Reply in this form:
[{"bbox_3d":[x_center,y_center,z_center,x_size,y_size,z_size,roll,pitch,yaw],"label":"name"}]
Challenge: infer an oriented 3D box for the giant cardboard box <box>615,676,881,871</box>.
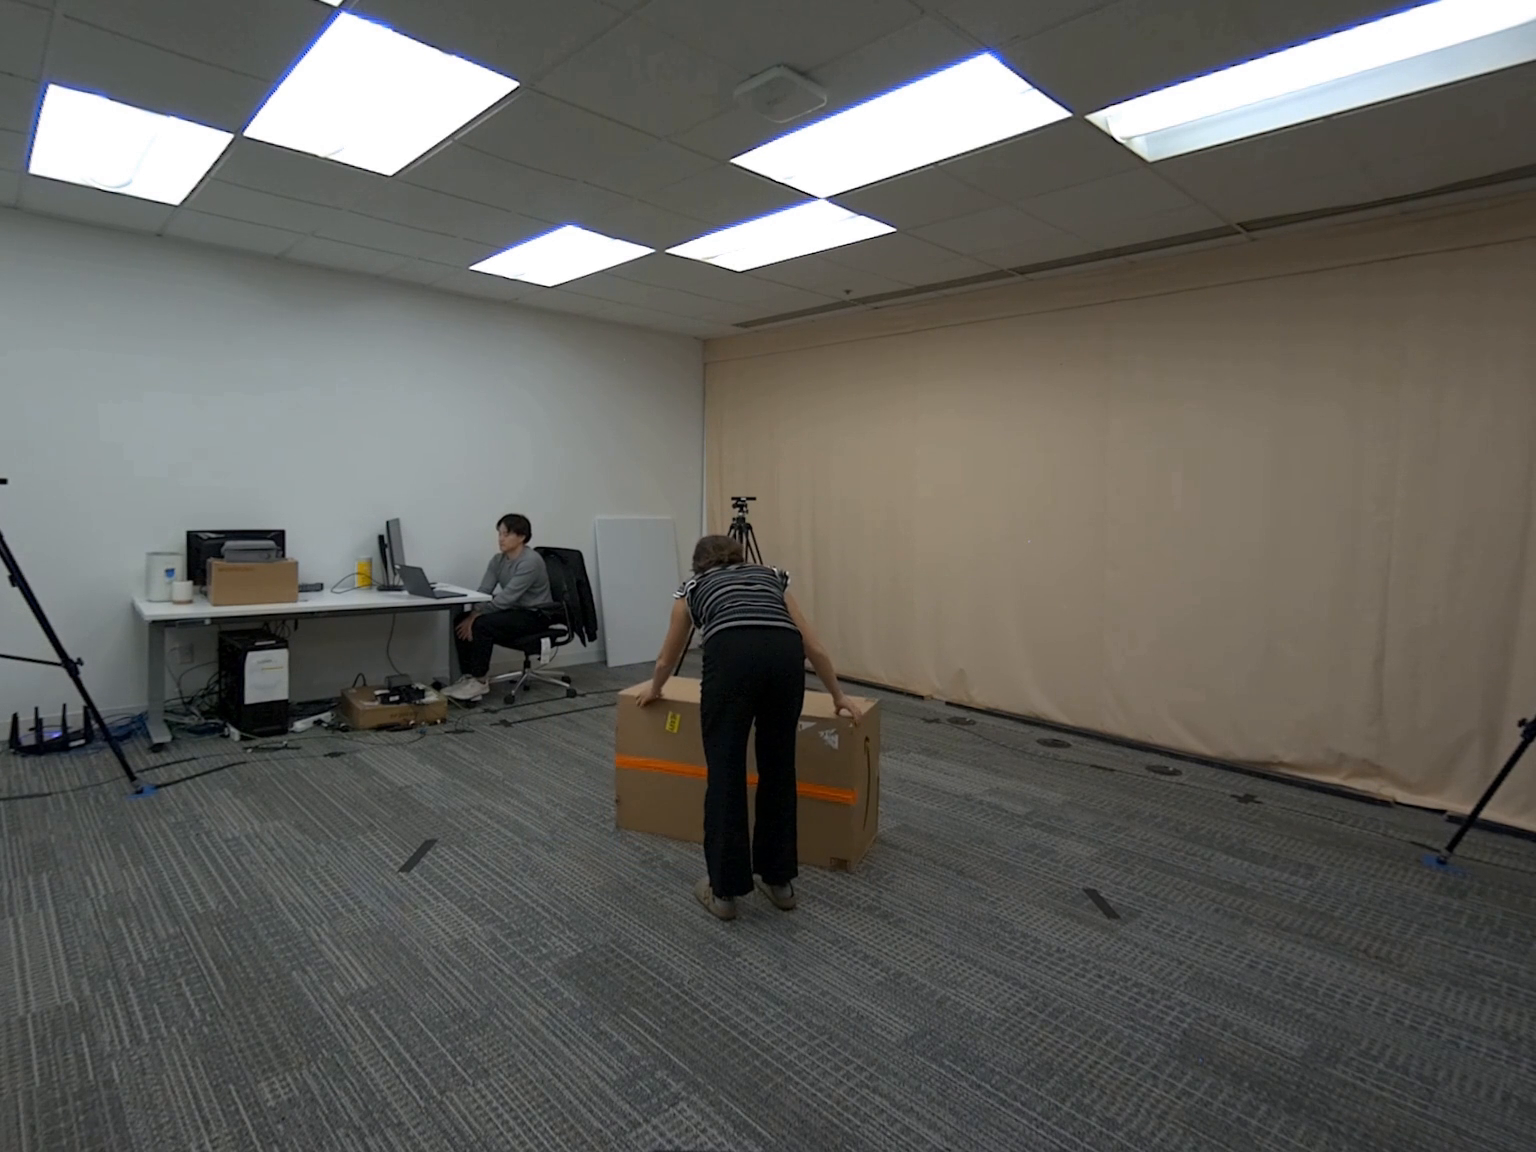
[{"bbox_3d":[-0.095,0.780,3.515,1.044,0.576,0.420,3,4,22],"label":"giant cardboard box"}]
